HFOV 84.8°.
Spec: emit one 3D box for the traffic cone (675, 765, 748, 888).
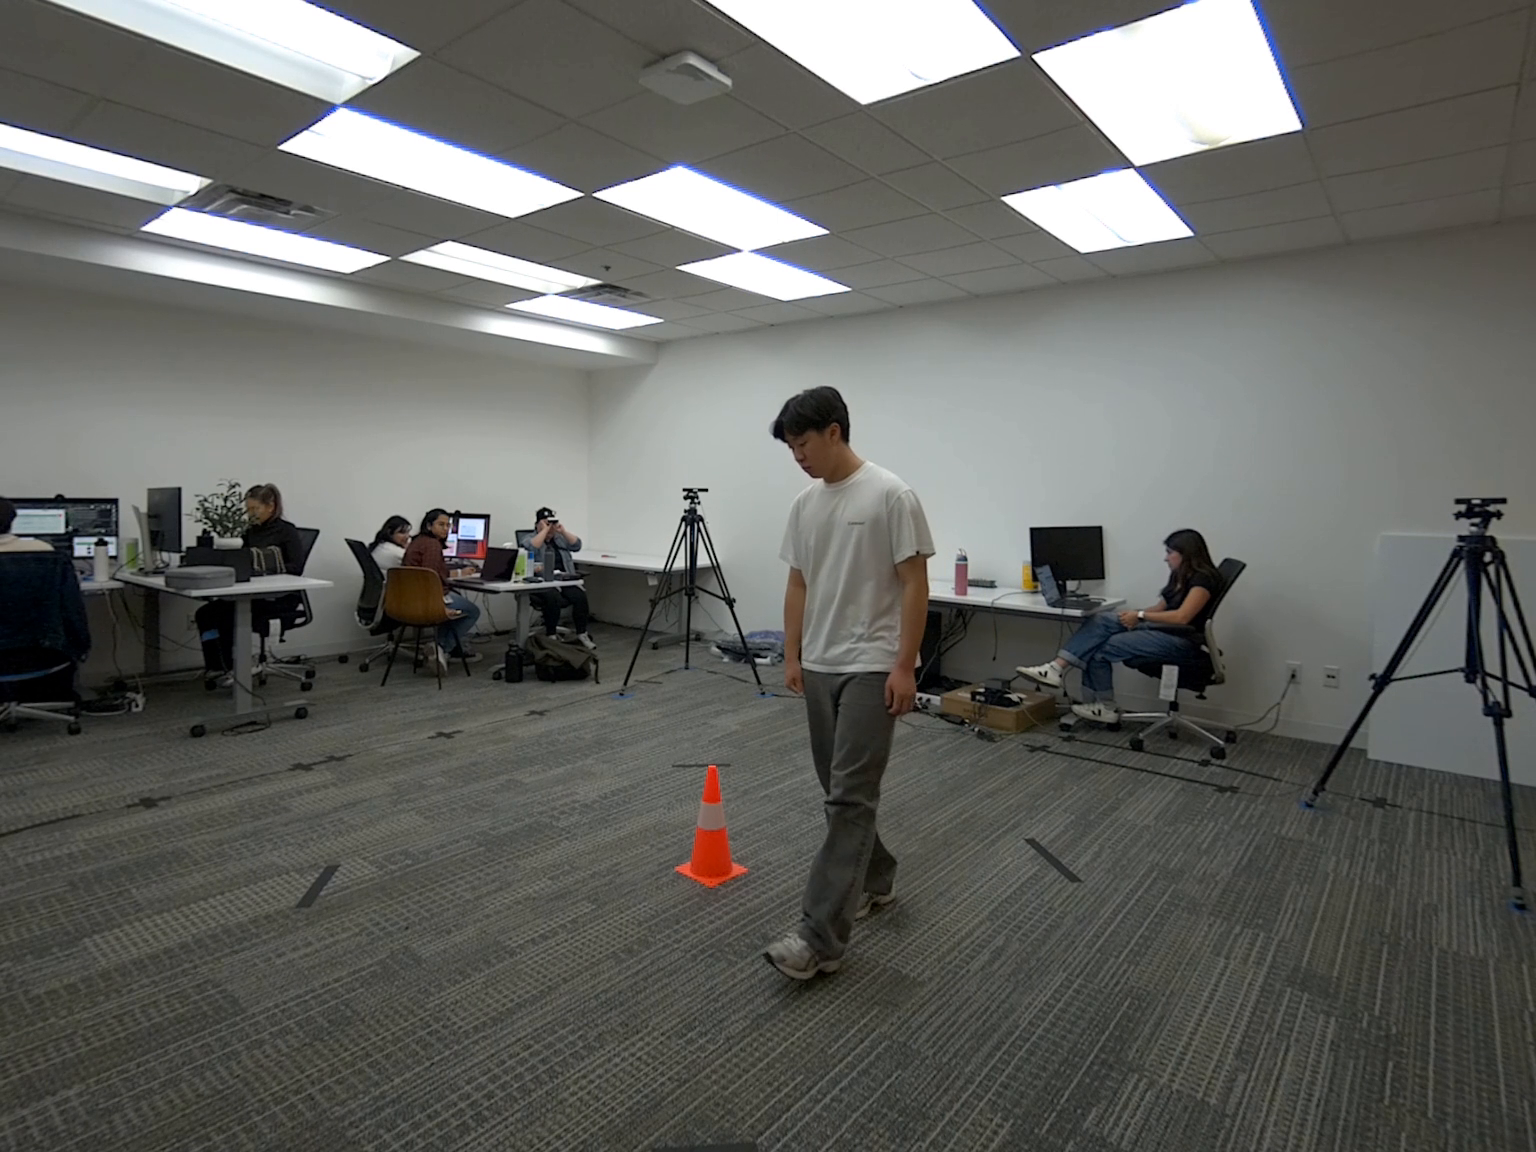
[{"bbox_3d":[-0.208,0.880,3.103,0.210,0.383,0.199,2,3,40],"label":"traffic cone"}]
